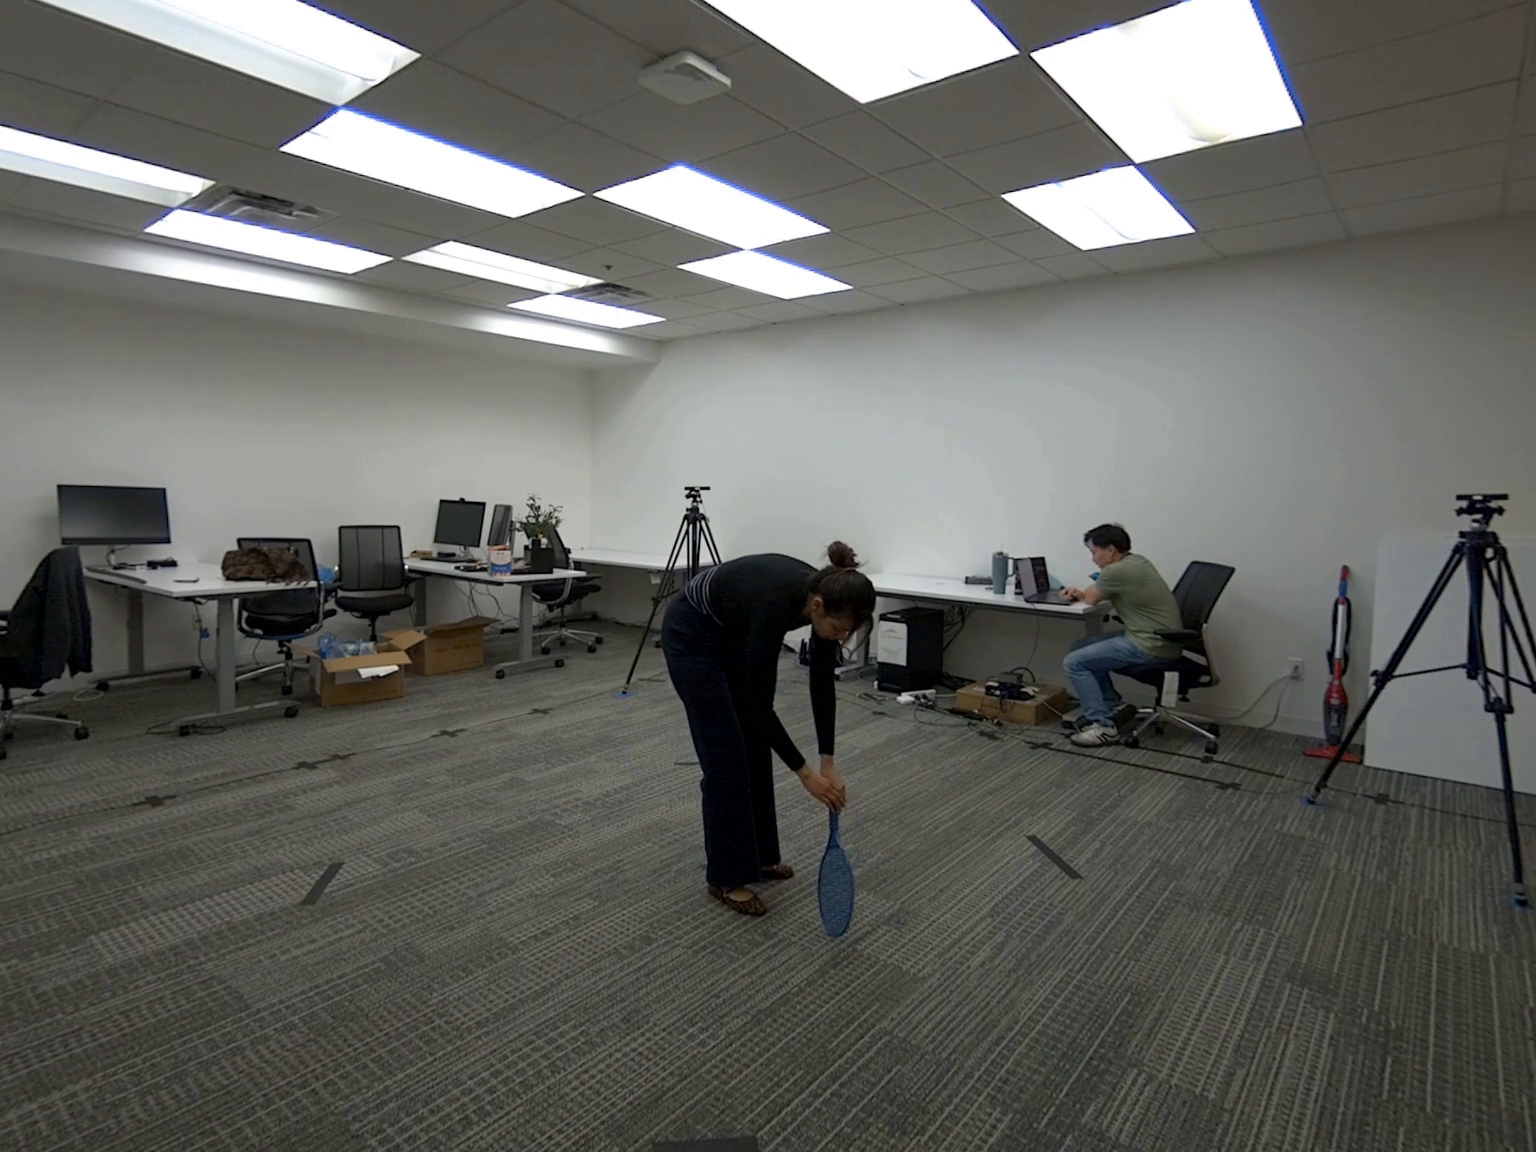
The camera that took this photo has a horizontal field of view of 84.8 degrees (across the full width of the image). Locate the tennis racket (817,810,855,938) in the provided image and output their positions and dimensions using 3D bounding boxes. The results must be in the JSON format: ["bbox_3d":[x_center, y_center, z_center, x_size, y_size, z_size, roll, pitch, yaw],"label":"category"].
[{"bbox_3d":[0.206,0.906,2.722,0.031,0.443,0.214,13,-29,-22],"label":"tennis racket"}]
